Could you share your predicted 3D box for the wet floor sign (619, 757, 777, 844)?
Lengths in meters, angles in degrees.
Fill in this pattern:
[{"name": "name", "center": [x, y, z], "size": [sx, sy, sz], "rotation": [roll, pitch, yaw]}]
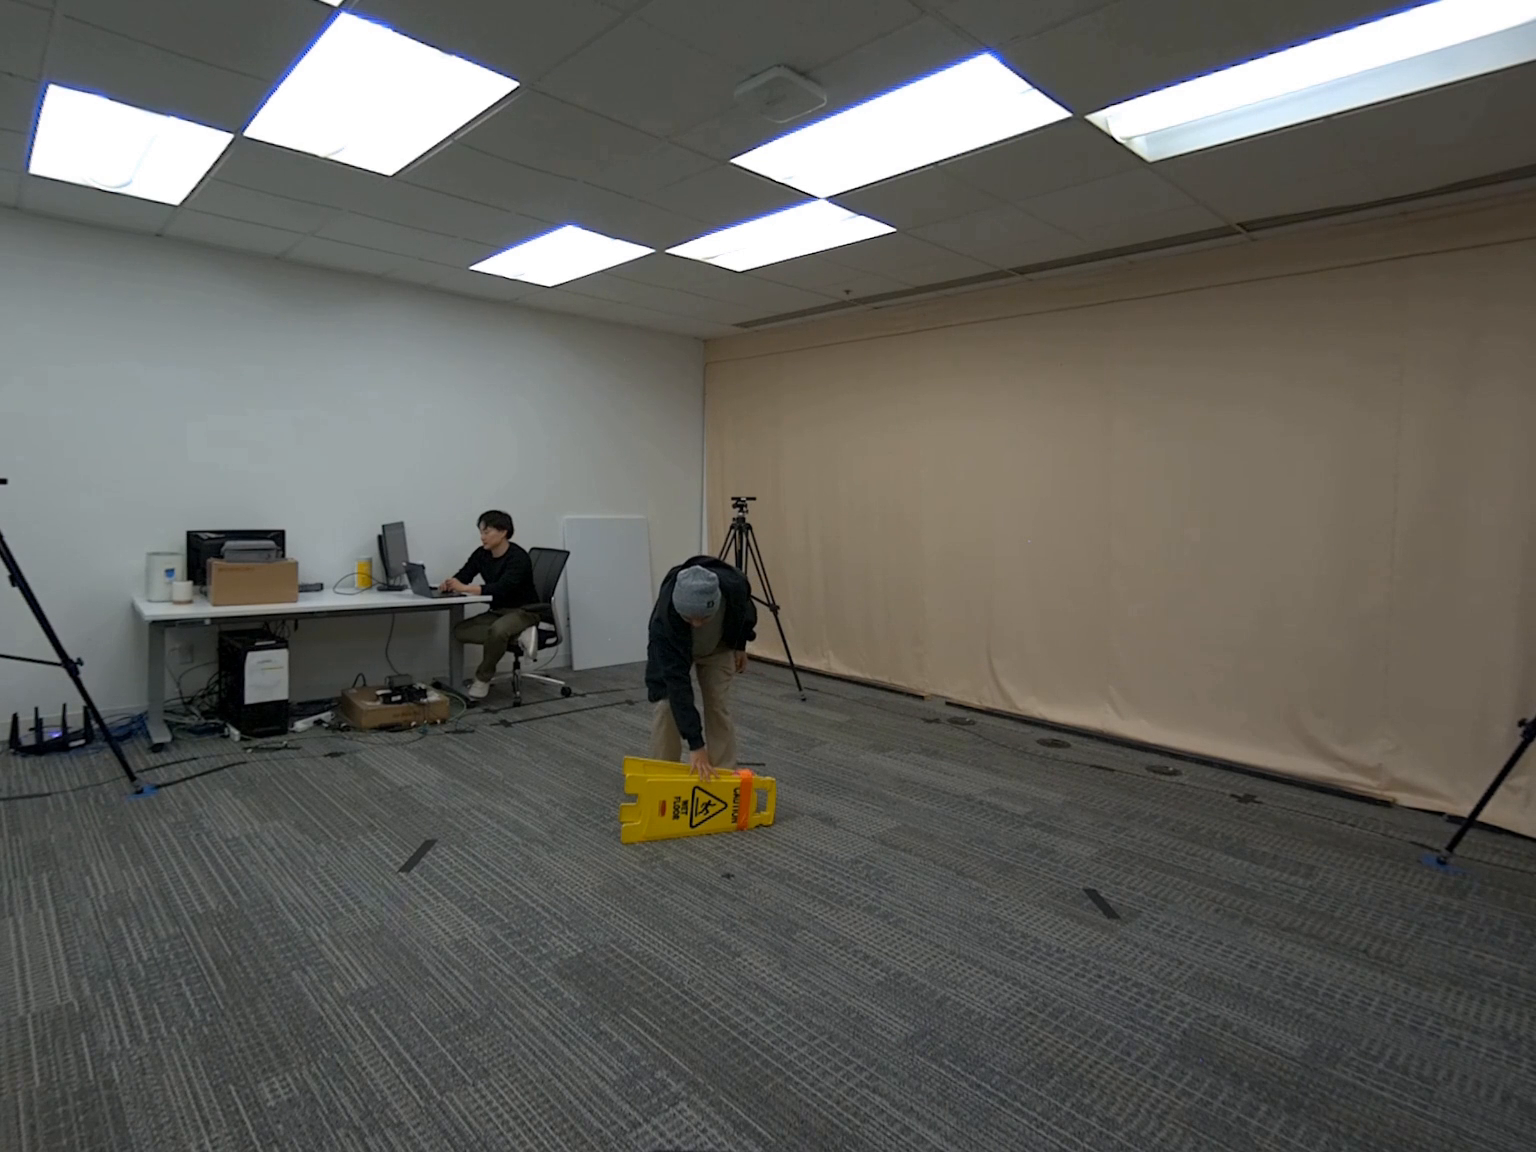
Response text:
[{"name": "wet floor sign", "center": [-0.298, 0.940, 3.549], "size": [0.641, 0.282, 0.293], "rotation": [4, 4, -10]}]
